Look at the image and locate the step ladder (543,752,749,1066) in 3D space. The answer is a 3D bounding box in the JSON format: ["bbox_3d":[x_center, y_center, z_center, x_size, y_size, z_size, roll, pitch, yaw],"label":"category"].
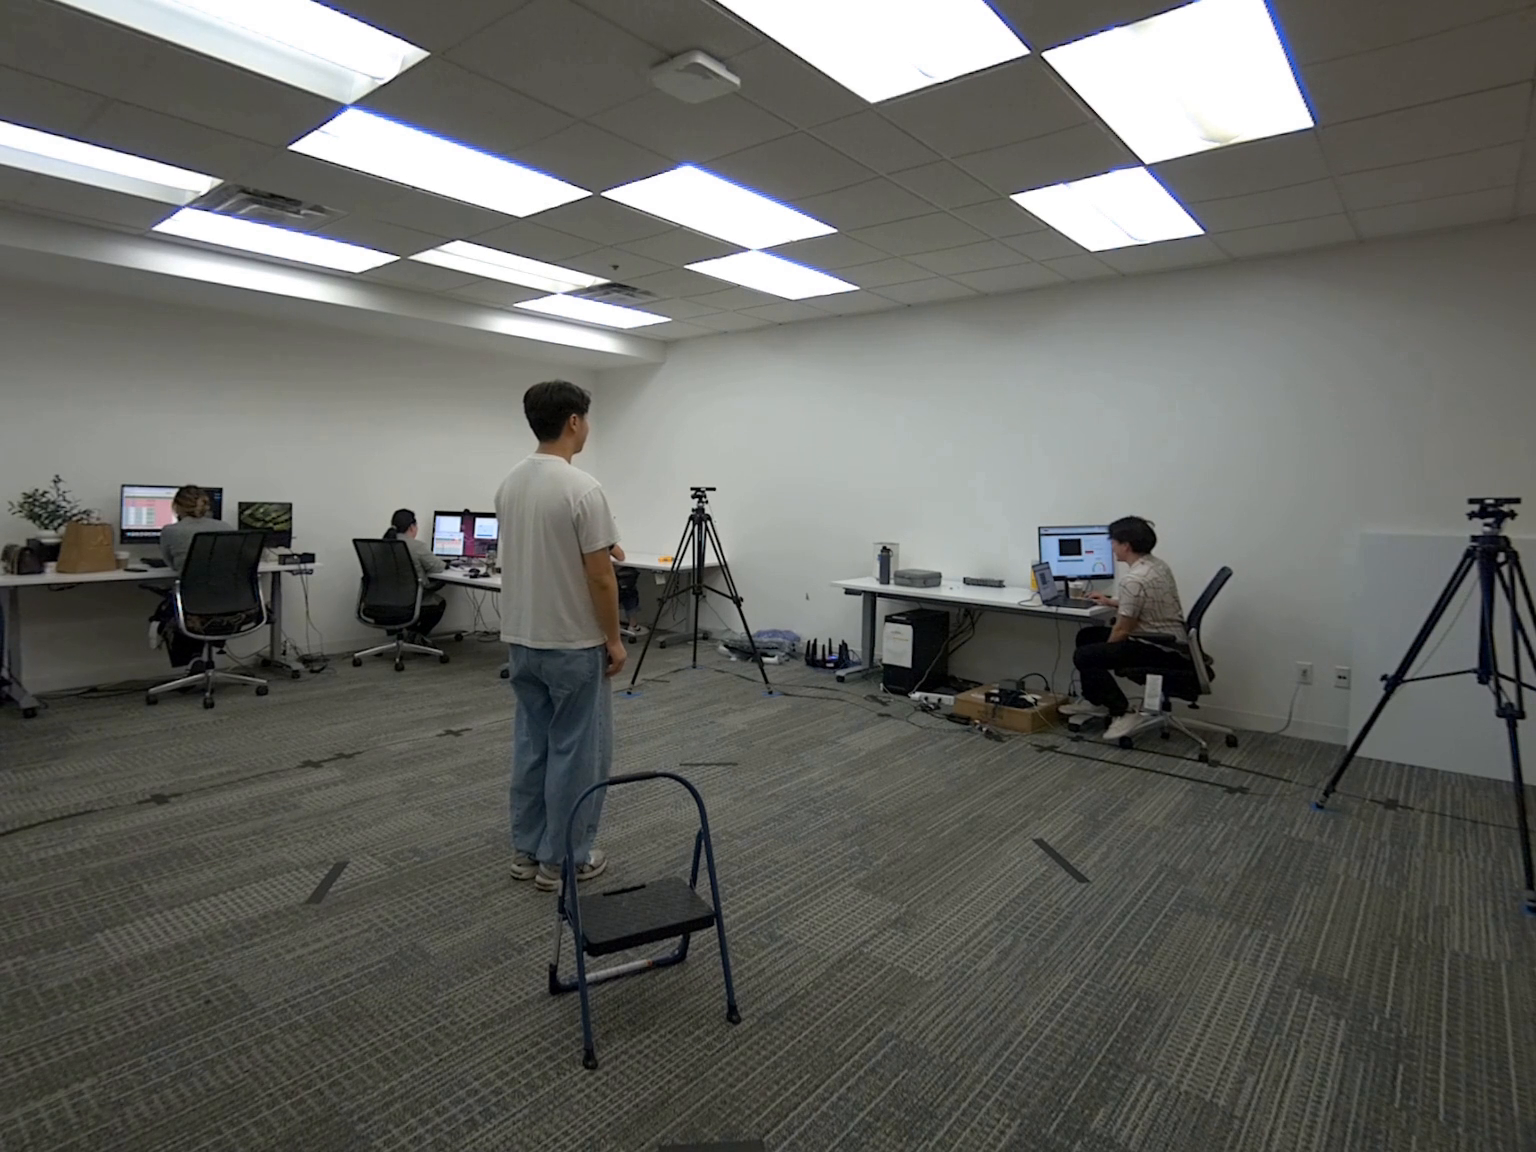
[{"bbox_3d":[-0.335,0.845,2.253,0.419,0.604,0.360,0,3,-30],"label":"step ladder"}]
